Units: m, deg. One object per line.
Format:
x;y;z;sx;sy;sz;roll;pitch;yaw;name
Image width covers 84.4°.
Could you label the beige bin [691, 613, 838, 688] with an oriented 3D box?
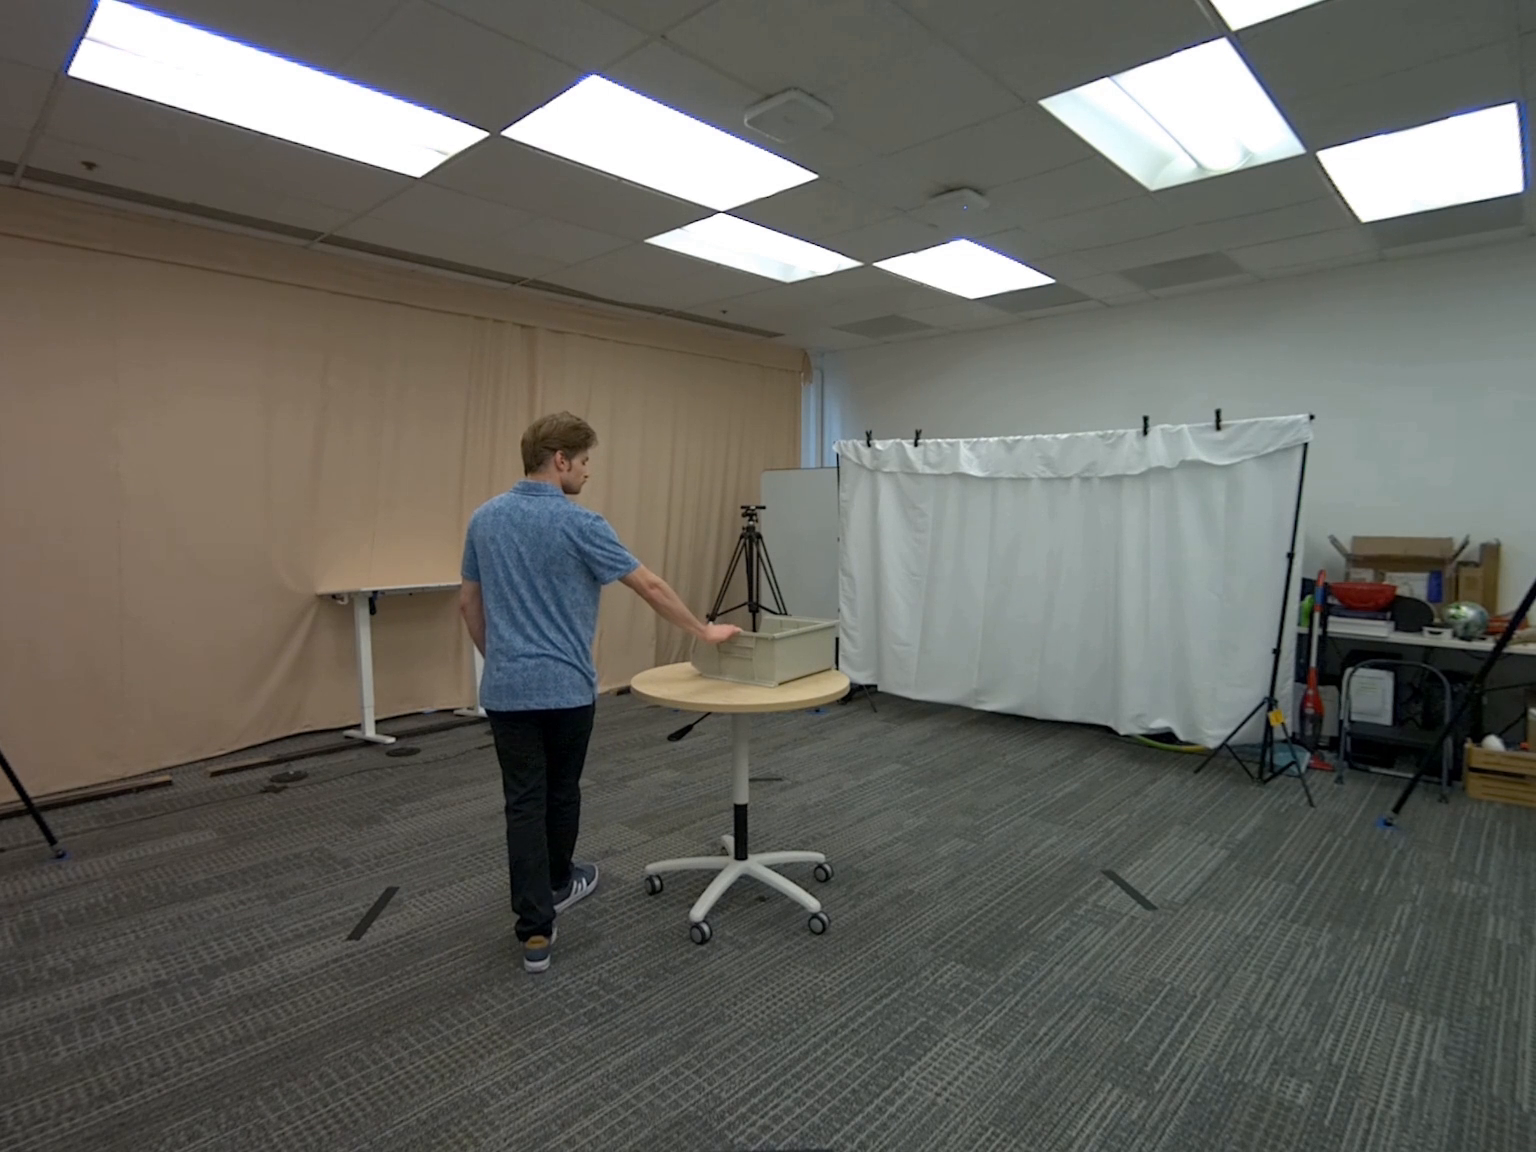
-0.007;0.261;3.065;0.389;0.188;0.410;4;6;36;beige bin
